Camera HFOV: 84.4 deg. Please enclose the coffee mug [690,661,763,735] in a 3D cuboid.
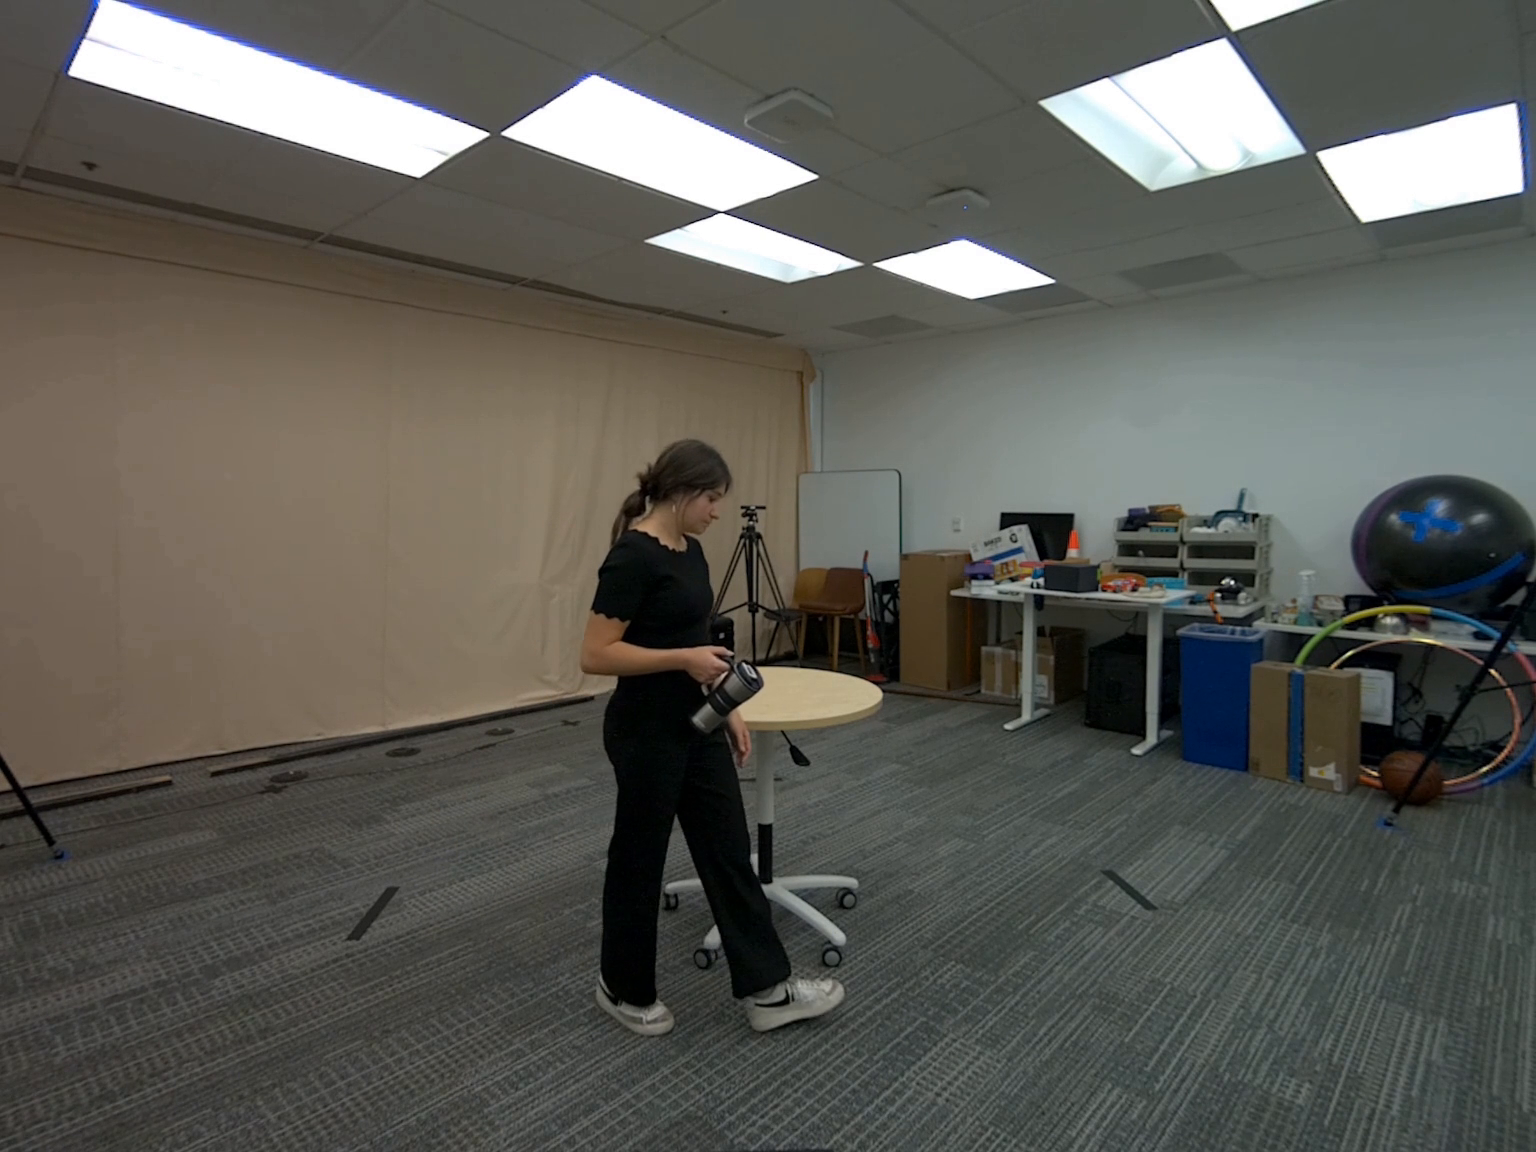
[{"bbox_3d":[-0.109,0.298,2.094,0.204,0.125,0.085,-45,-33,20],"label":"coffee mug"}]
